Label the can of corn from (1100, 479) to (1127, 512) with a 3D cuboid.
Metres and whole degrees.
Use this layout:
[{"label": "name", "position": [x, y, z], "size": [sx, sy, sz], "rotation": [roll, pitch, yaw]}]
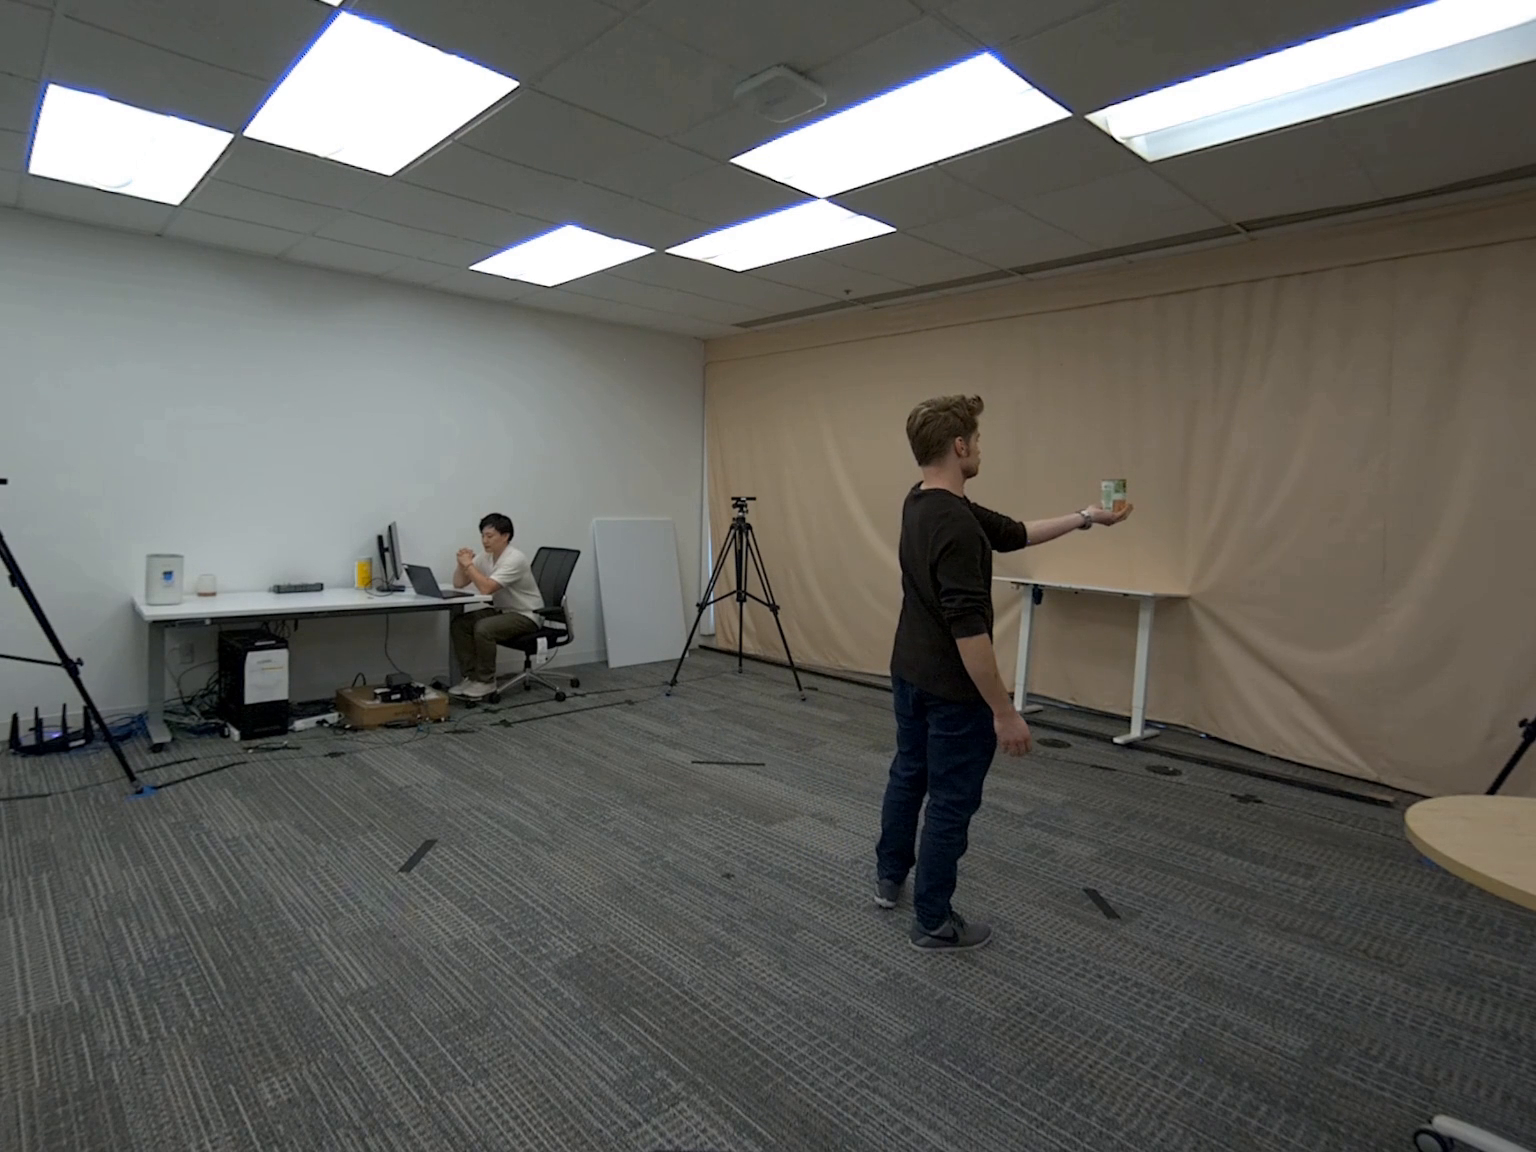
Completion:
[{"label": "can of corn", "position": [1.142, -0.262, 2.780], "size": [0.074, 0.111, 0.074], "rotation": [0, 4, -1]}]
